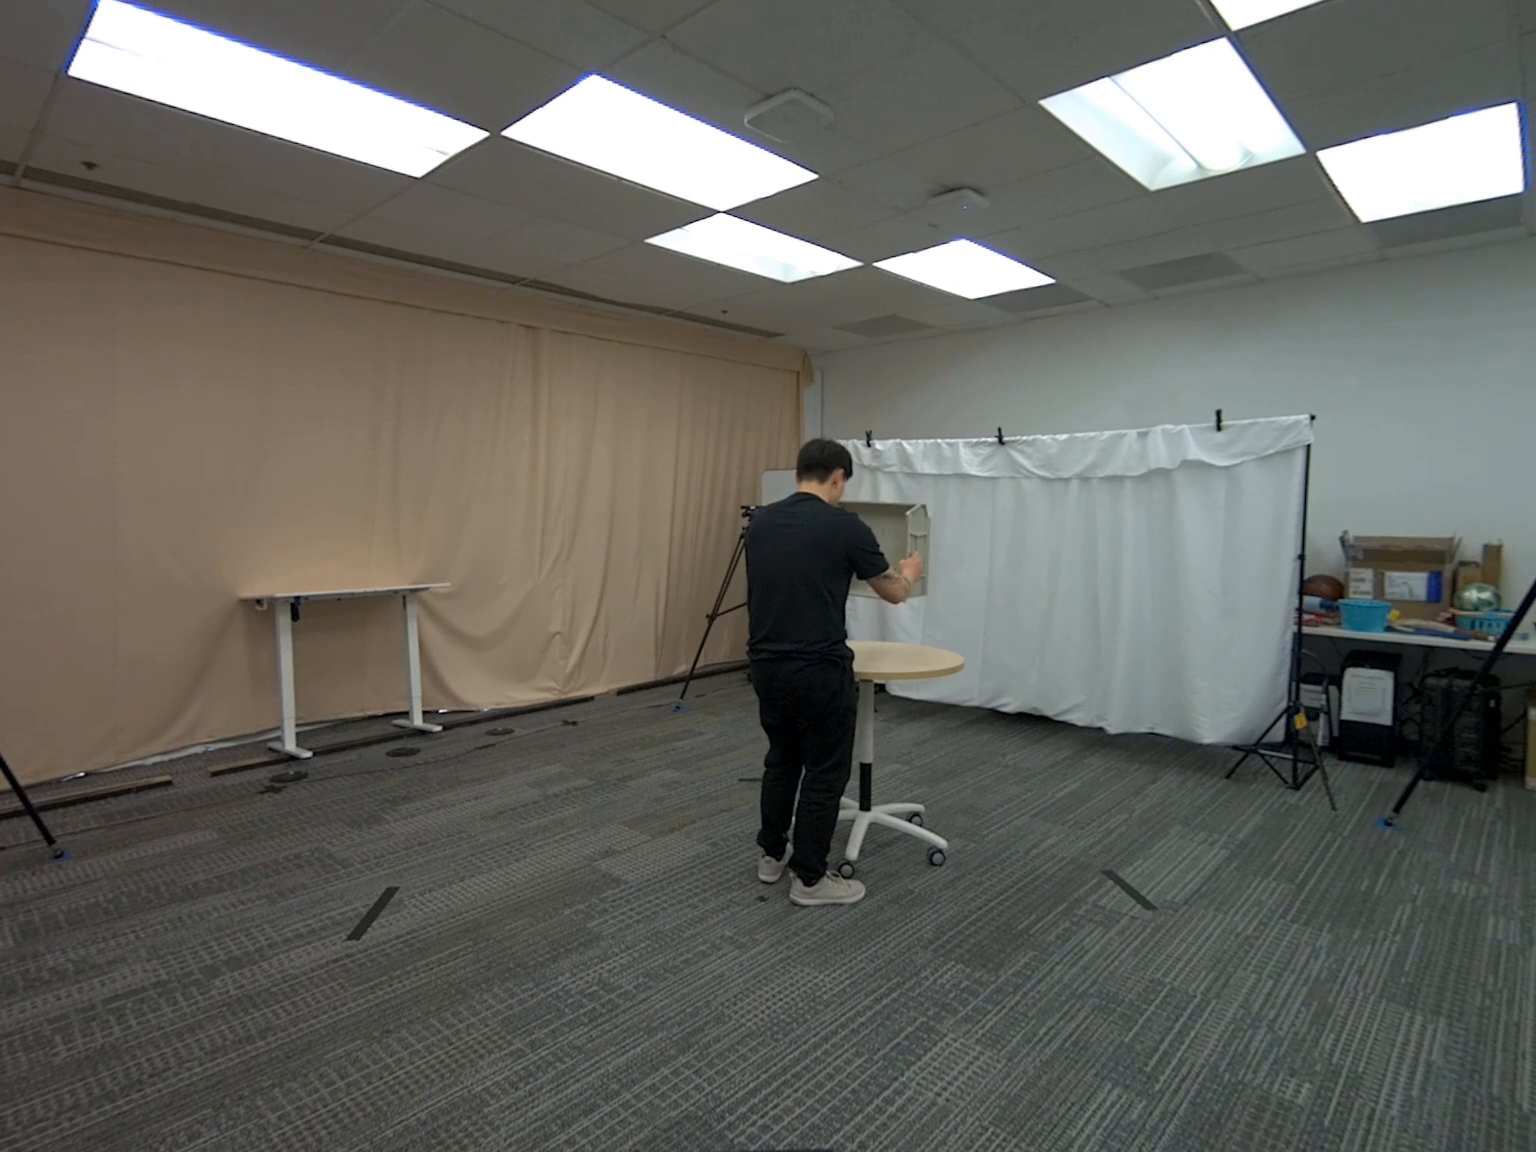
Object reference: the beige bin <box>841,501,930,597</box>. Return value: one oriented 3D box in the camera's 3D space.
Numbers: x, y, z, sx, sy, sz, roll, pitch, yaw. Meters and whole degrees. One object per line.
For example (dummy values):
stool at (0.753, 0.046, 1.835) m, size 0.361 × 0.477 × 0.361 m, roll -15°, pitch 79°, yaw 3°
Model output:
beige bin at (0.414, -0.113, 3.373) m, size 0.436 × 0.376 × 0.183 m, roll 6°, pitch 6°, yaw 39°
